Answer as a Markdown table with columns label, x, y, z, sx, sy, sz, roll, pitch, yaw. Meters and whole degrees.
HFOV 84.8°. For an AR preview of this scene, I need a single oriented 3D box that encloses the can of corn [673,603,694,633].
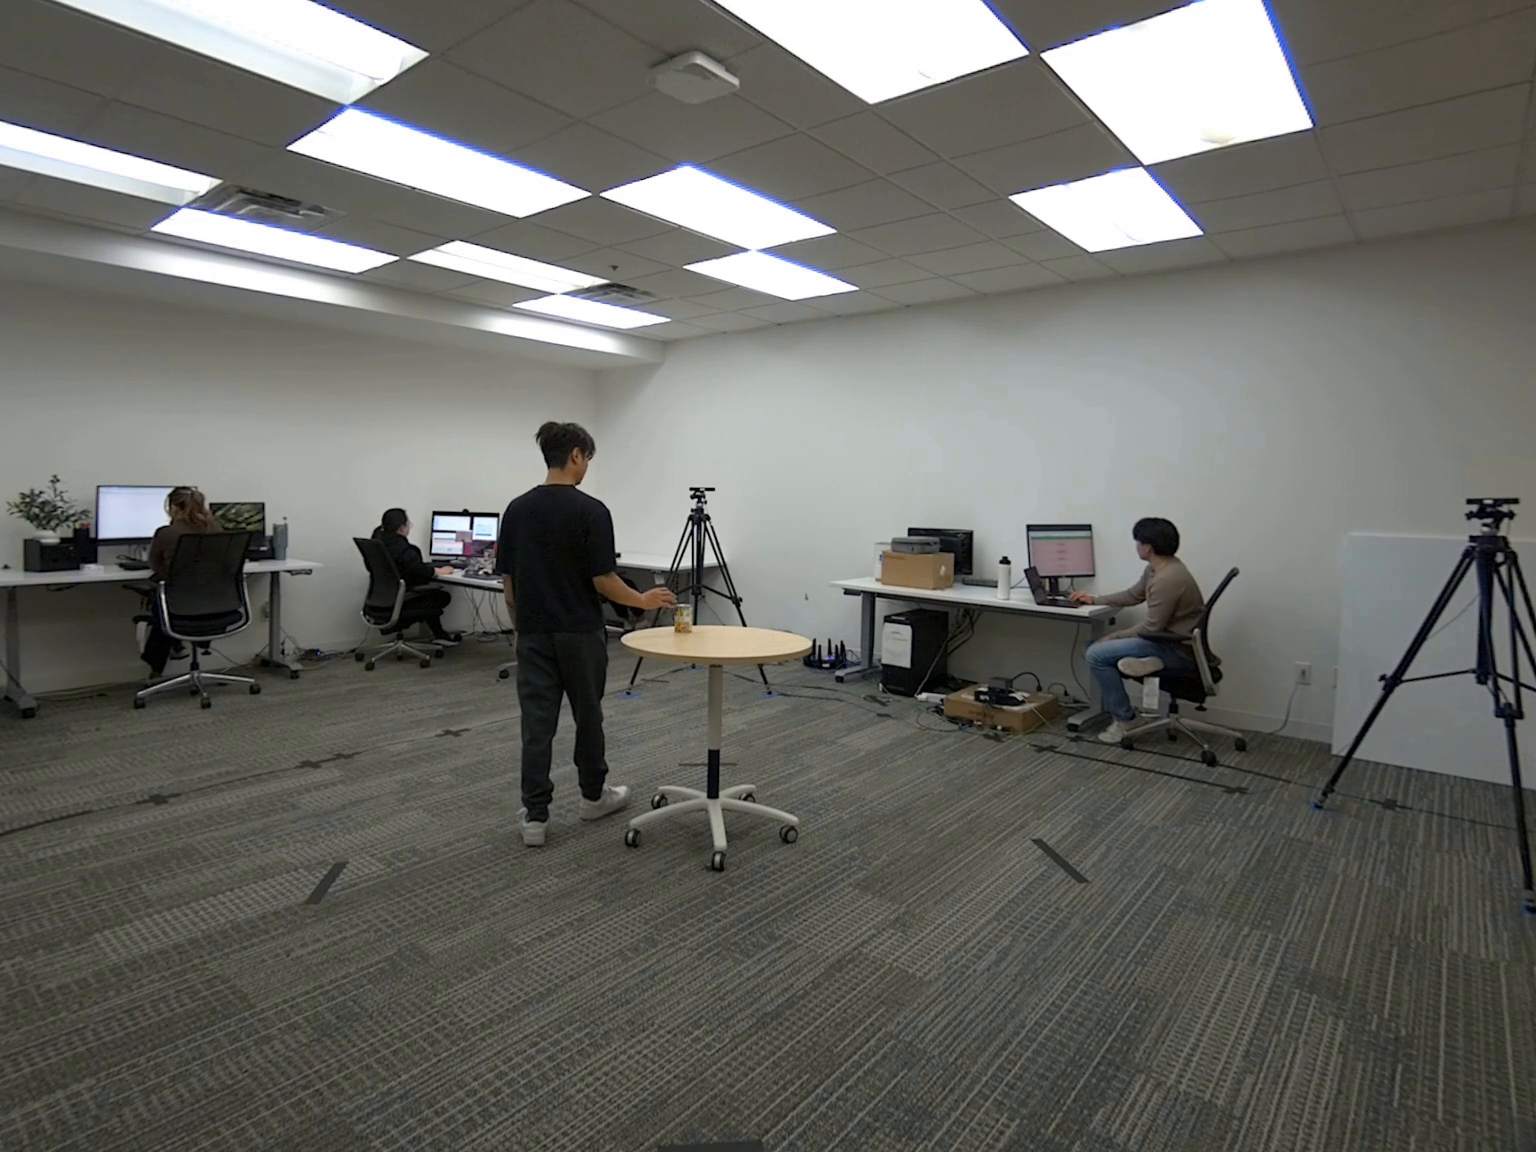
| label | x | y | z | sx | sy | sz | roll | pitch | yaw |
| --- | --- | --- | --- | --- | --- | --- | --- | --- | --- |
| can of corn | -0.374 | 0.179 | 3.609 | 0.074 | 0.110 | 0.074 | 1 | 4 | -2 |
